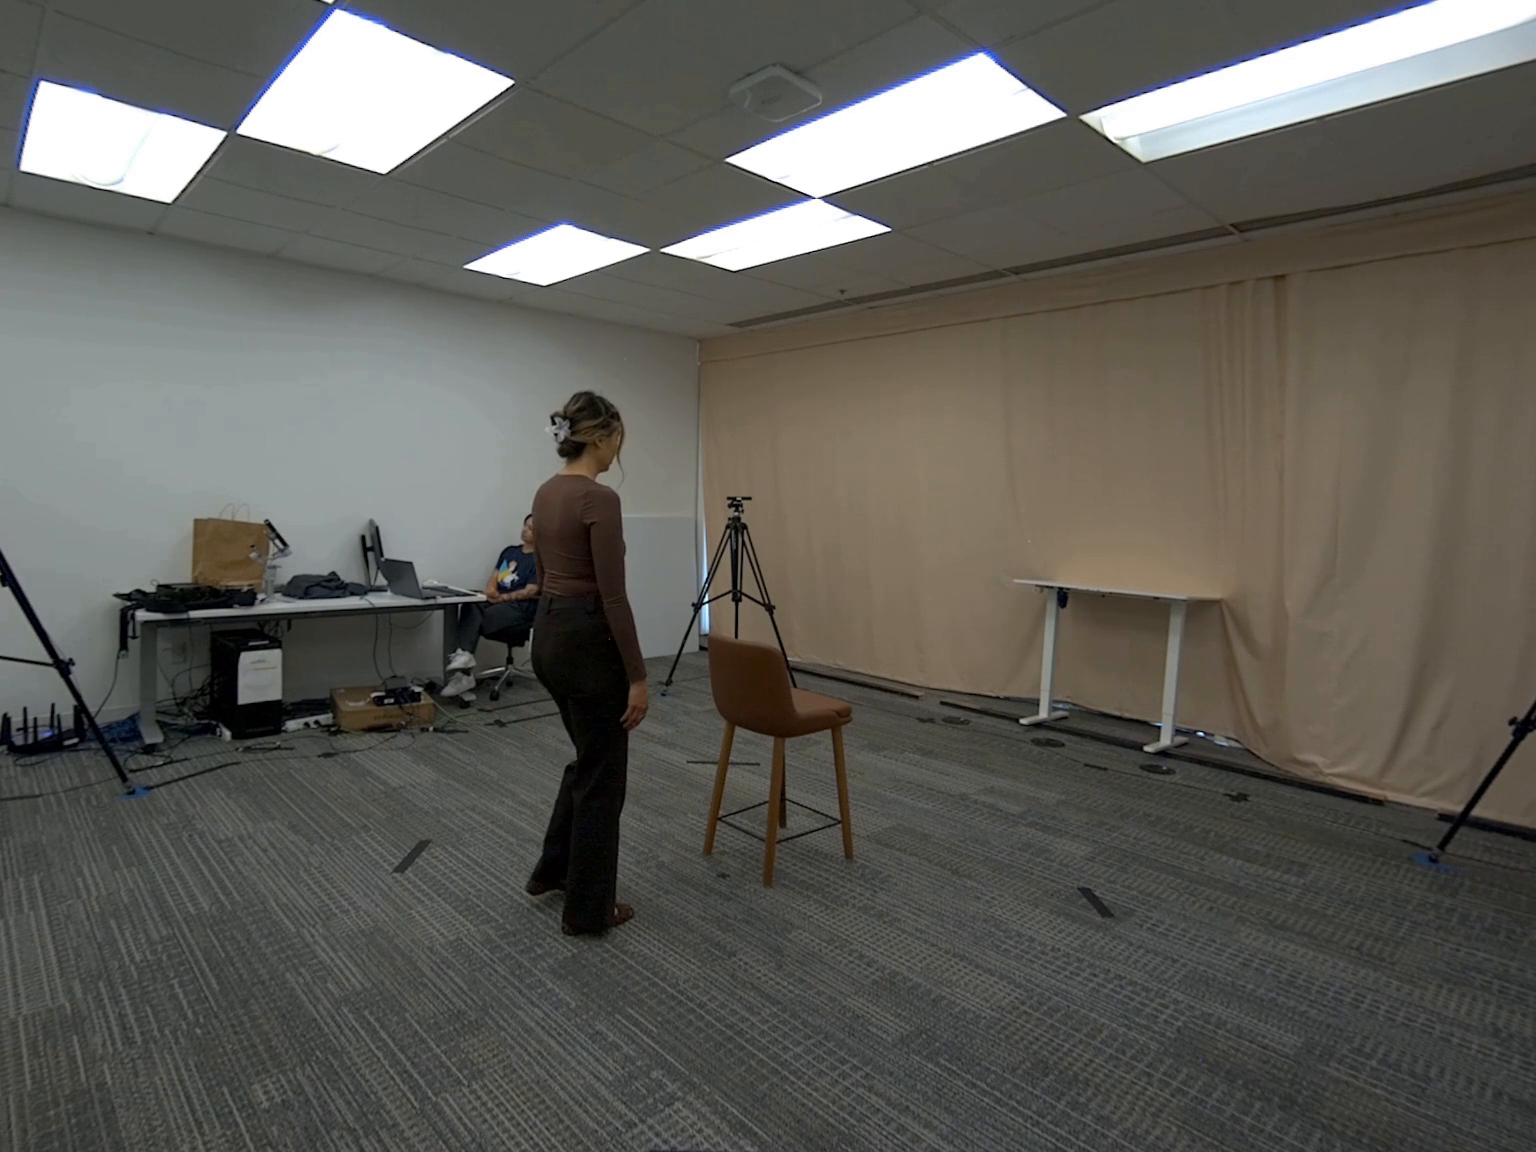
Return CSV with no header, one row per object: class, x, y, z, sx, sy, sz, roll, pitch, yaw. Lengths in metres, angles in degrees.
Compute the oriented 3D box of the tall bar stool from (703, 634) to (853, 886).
tall bar stool,0.035,0.660,3.274,0.457,0.887,0.468,-4,6,-41
